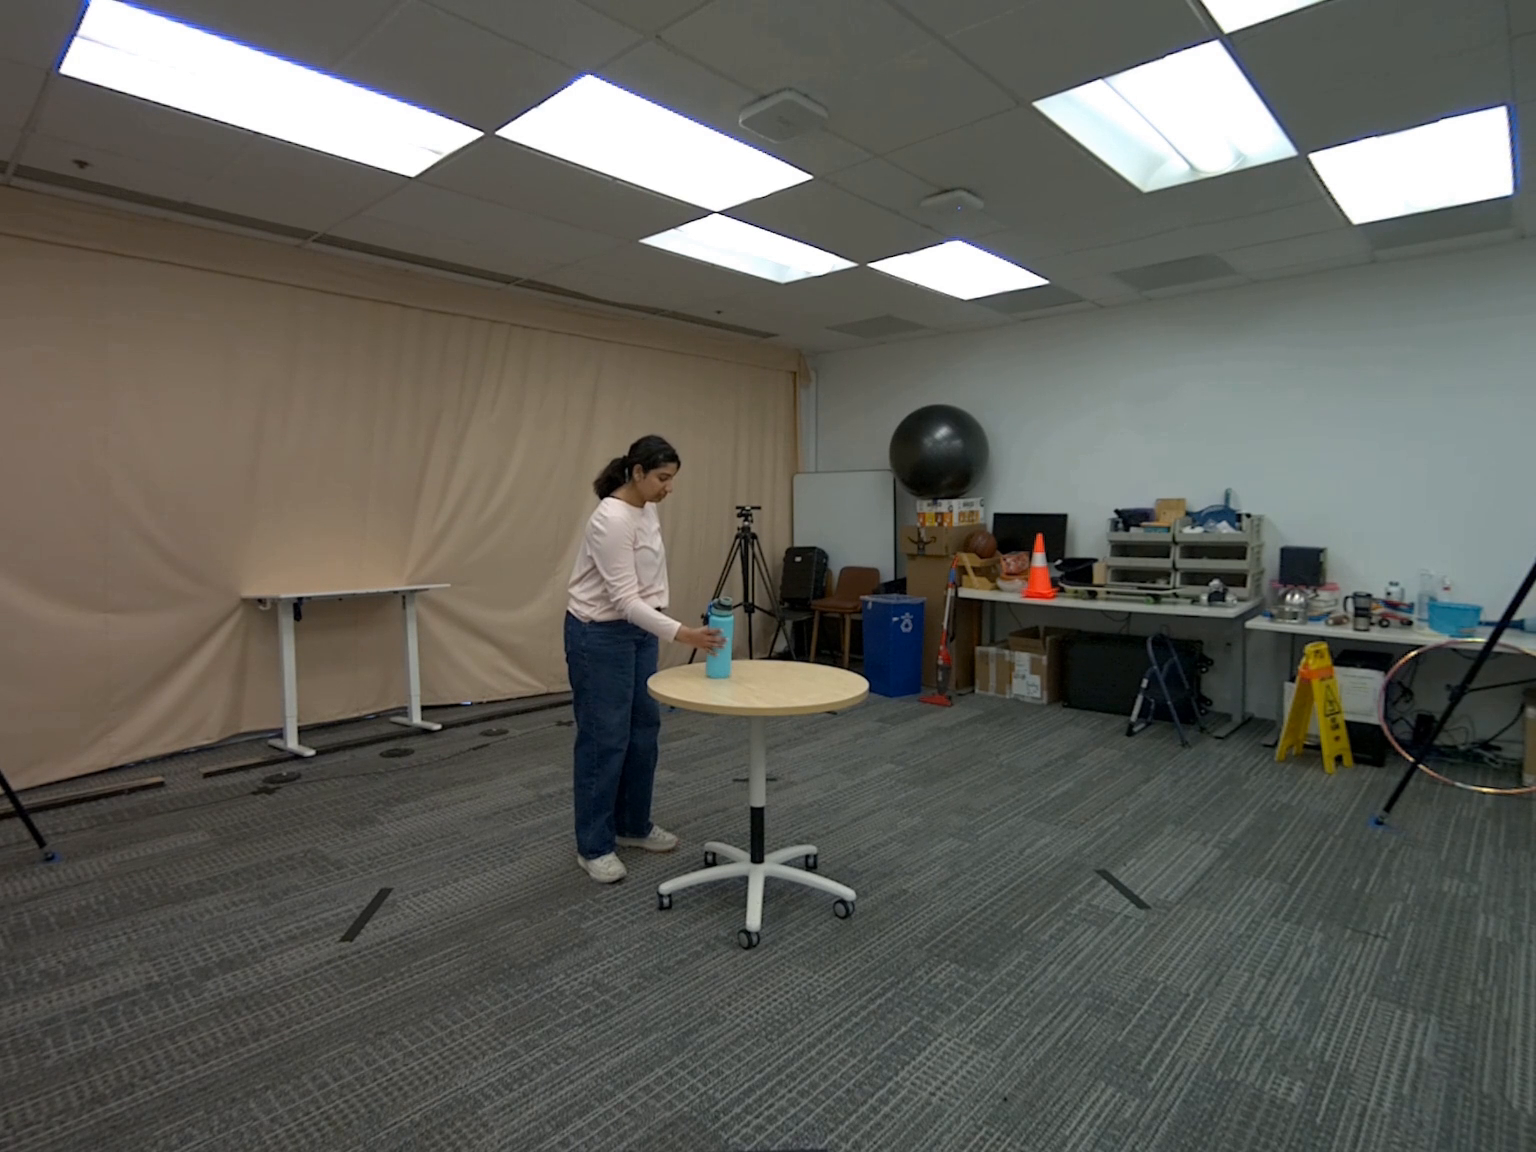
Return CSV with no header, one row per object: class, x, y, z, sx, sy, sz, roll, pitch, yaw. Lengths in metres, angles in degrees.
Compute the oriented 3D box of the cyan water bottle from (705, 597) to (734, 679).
cyan water bottle,-0.171,0.217,2.970,0.092,0.281,0.093,0,11,-2
